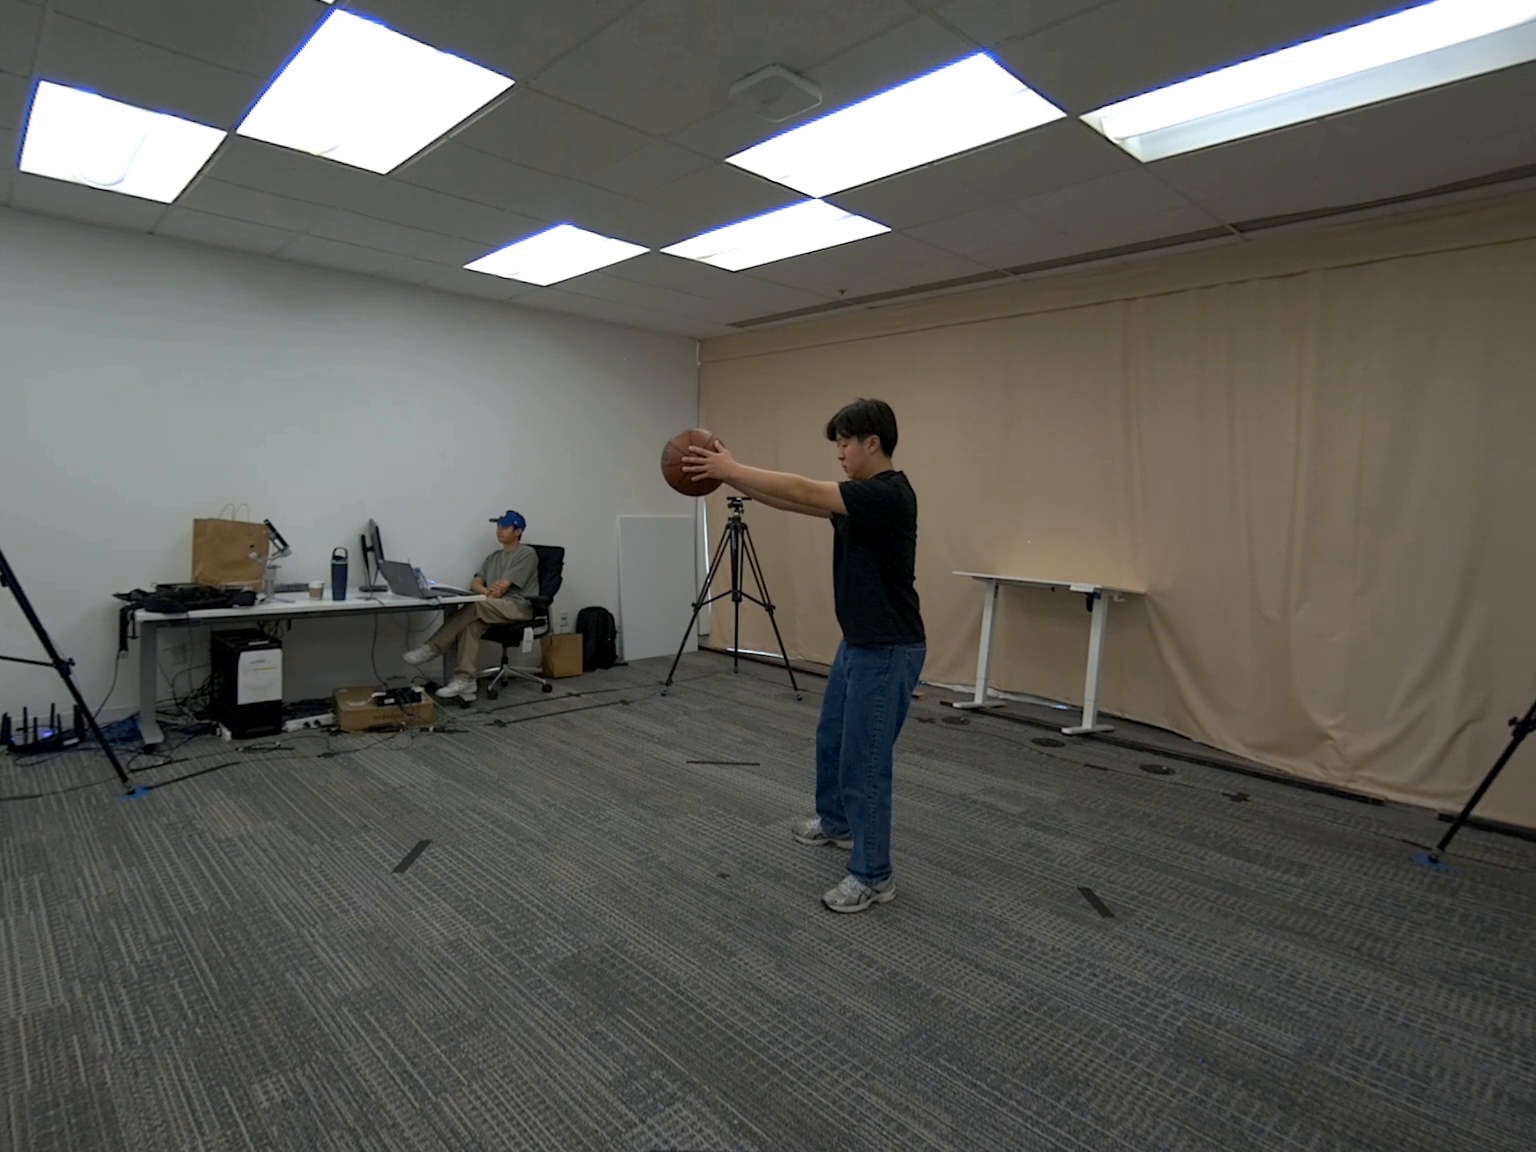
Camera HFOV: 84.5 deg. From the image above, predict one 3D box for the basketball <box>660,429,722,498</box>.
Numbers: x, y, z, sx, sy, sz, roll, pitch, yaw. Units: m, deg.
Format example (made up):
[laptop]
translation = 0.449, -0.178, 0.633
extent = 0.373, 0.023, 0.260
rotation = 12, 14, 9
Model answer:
[basketball]
translation = -0.255, -0.392, 2.946
extent = 0.236, 0.235, 0.237
rotation = 1, 4, -1
